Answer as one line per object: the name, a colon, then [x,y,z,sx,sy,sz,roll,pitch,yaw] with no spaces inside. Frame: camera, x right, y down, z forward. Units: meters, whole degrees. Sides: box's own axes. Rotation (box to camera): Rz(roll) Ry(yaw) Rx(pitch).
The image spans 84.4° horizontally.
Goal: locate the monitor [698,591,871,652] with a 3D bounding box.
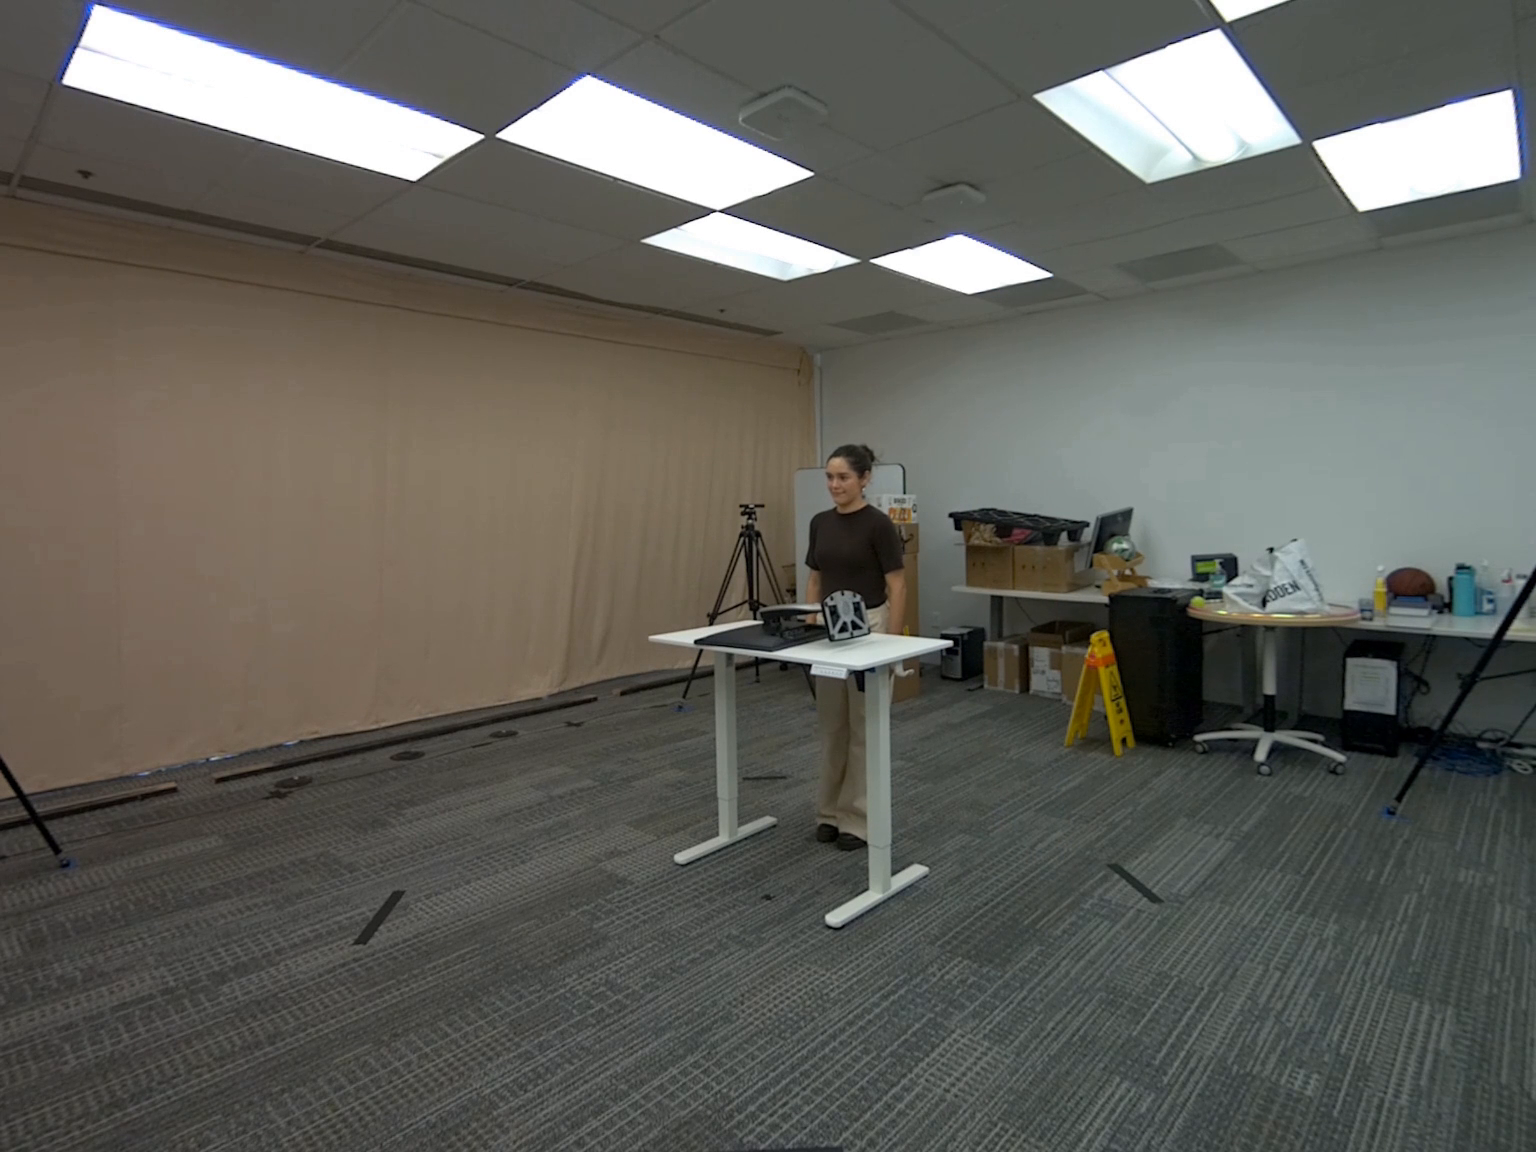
monitor: [0.087,0.187,3.152,0.536,0.188,0.522,-13,-6,38]
